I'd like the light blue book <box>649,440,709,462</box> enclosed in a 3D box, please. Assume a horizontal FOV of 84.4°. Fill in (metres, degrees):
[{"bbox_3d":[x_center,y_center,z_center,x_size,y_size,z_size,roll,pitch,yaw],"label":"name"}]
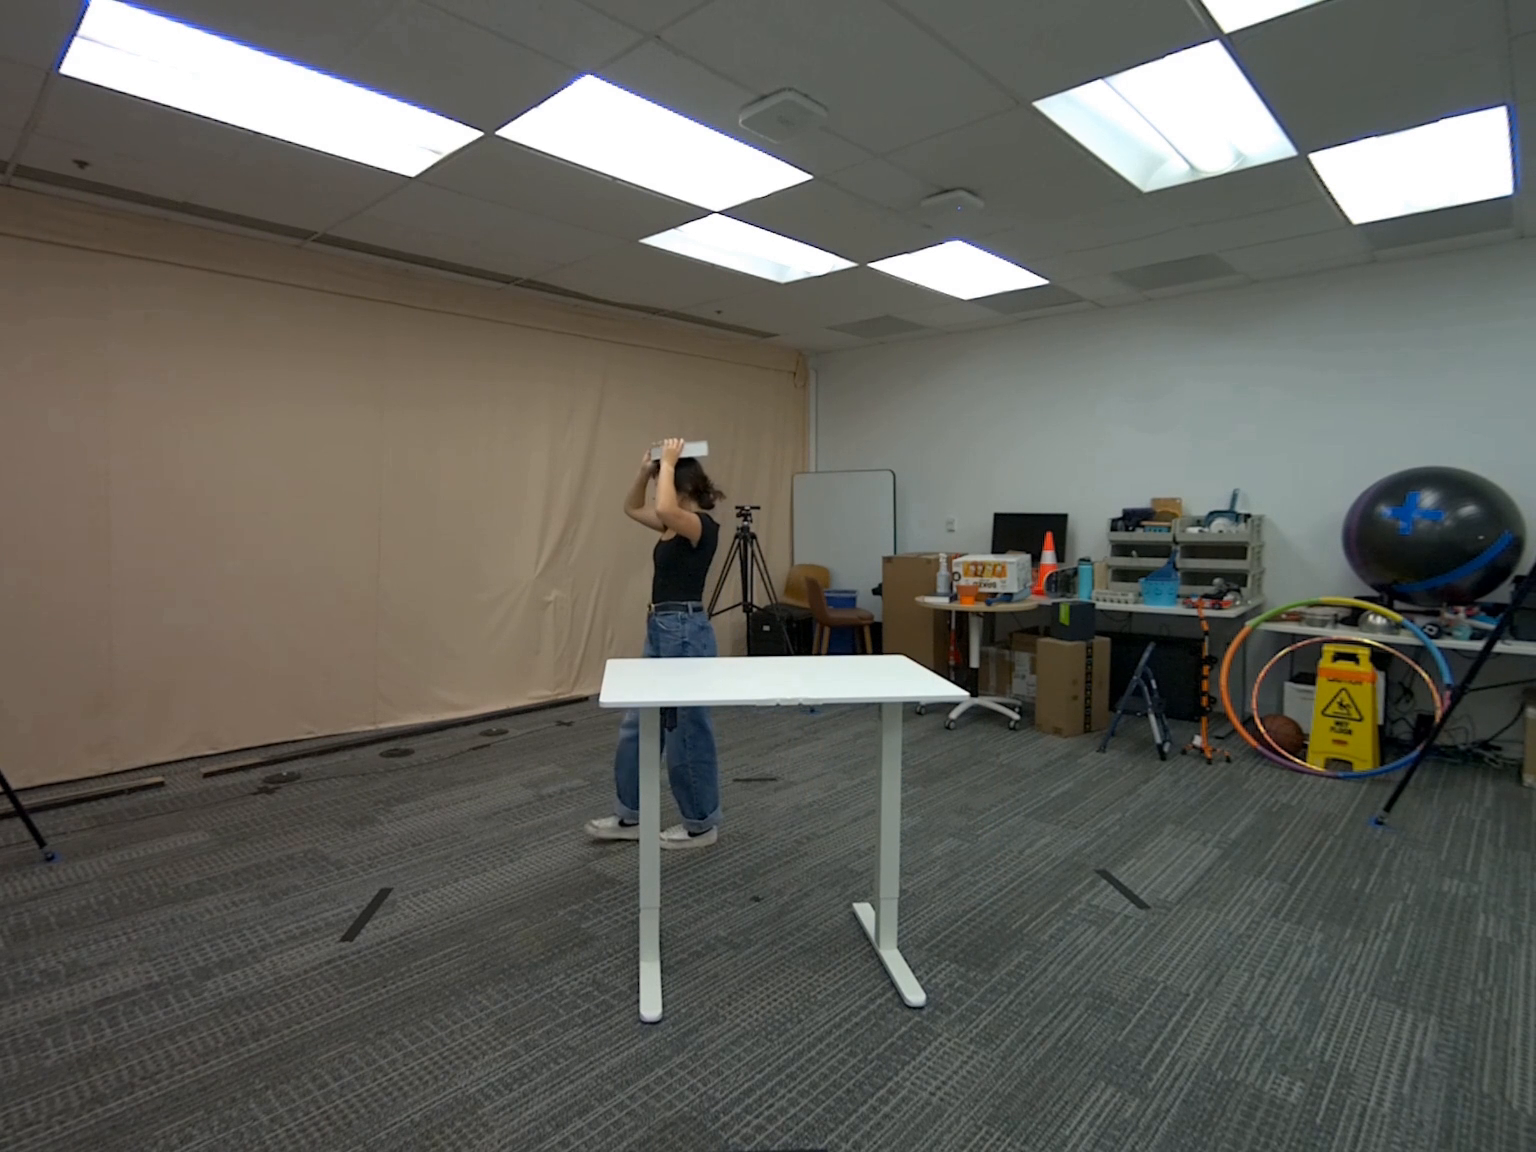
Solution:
[{"bbox_3d":[-0.350,-0.504,3.368,0.189,0.059,0.266,-4,6,-15],"label":"light blue book"}]
